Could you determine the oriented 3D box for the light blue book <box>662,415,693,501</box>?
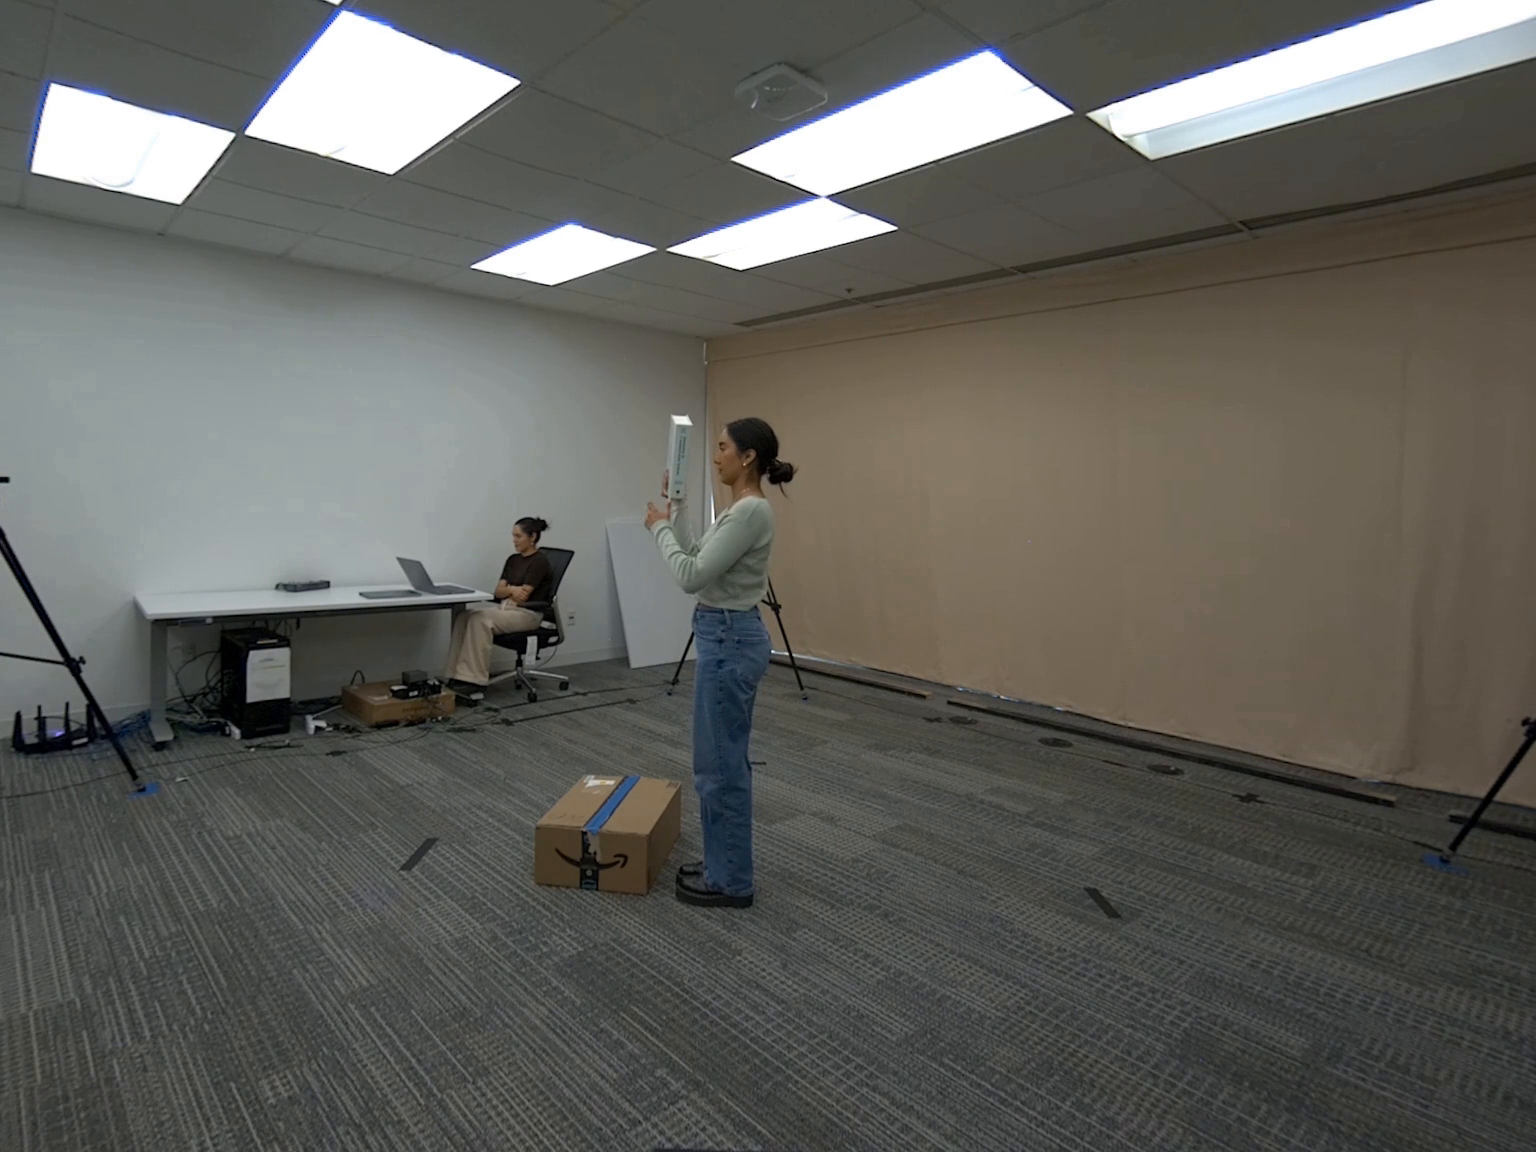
[{"bbox_3d":[-0.324,-0.423,2.976,0.058,0.258,0.195,2,19,-10],"label":"light blue book"}]
